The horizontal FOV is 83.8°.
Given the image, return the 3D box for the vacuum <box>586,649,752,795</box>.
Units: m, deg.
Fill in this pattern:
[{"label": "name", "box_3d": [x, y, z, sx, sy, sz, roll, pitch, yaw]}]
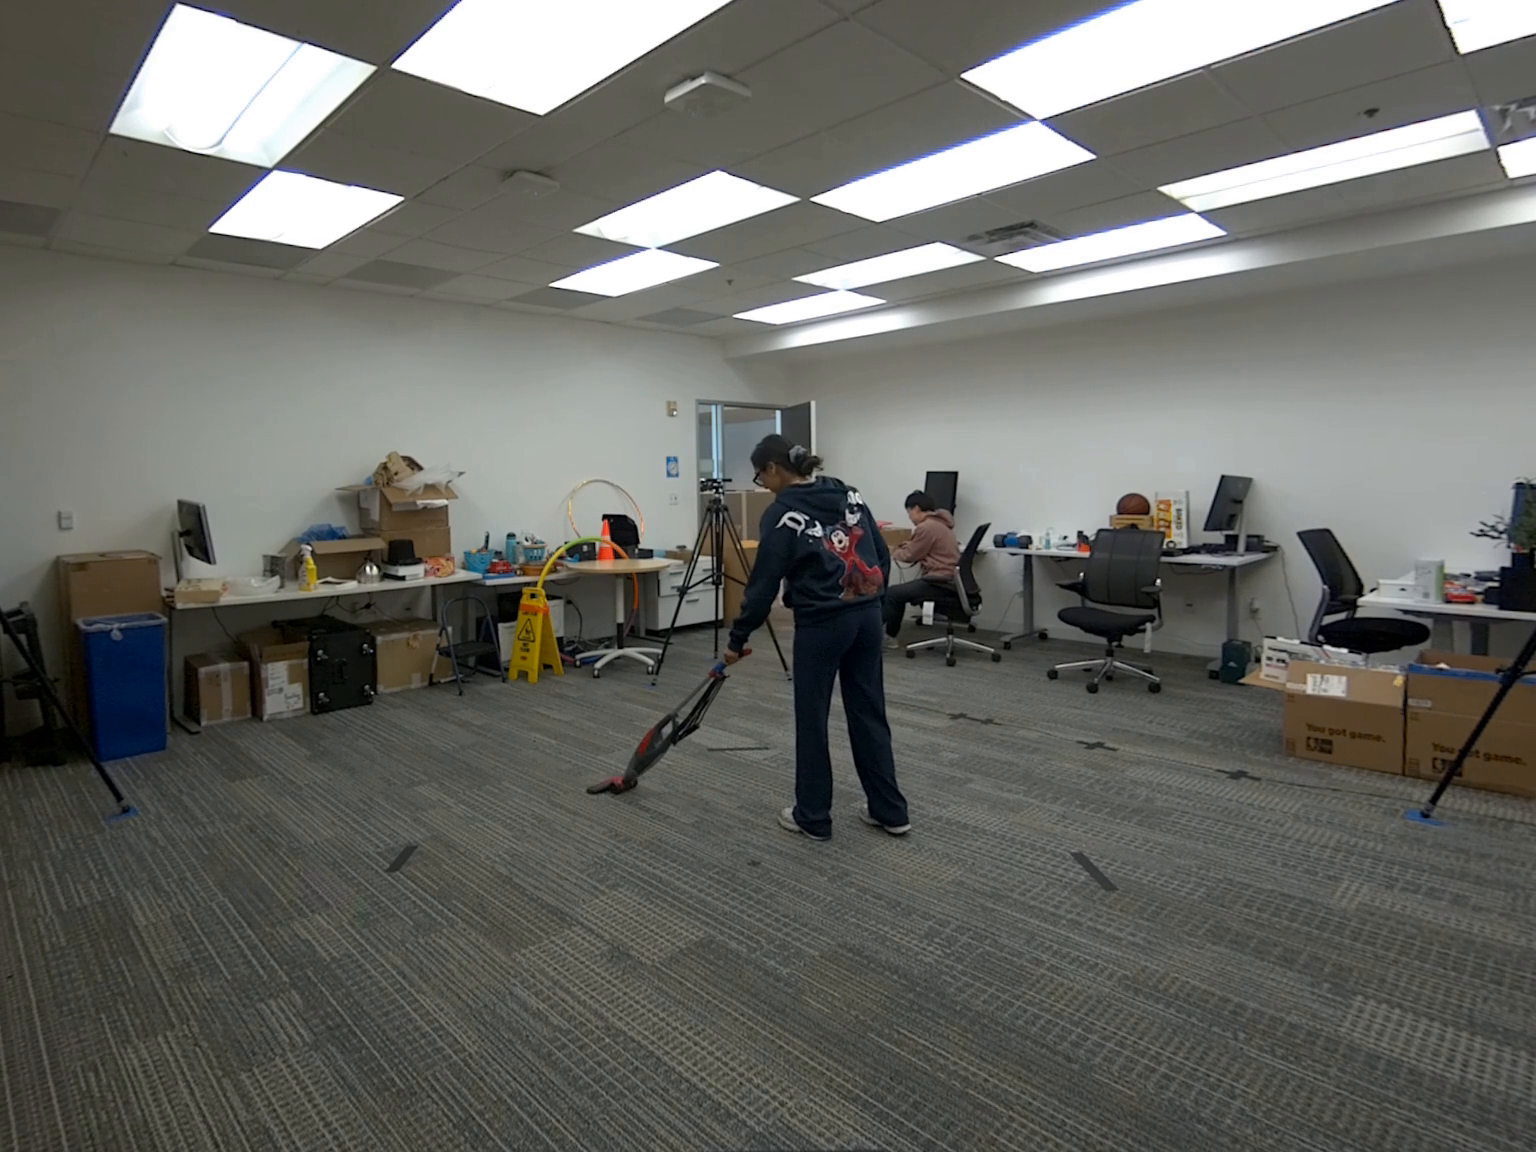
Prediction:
[{"label": "vacuum", "box_3d": [-0.384, 0.631, 3.638, 1.048, 0.147, 0.247, -47, -18, 30]}]
